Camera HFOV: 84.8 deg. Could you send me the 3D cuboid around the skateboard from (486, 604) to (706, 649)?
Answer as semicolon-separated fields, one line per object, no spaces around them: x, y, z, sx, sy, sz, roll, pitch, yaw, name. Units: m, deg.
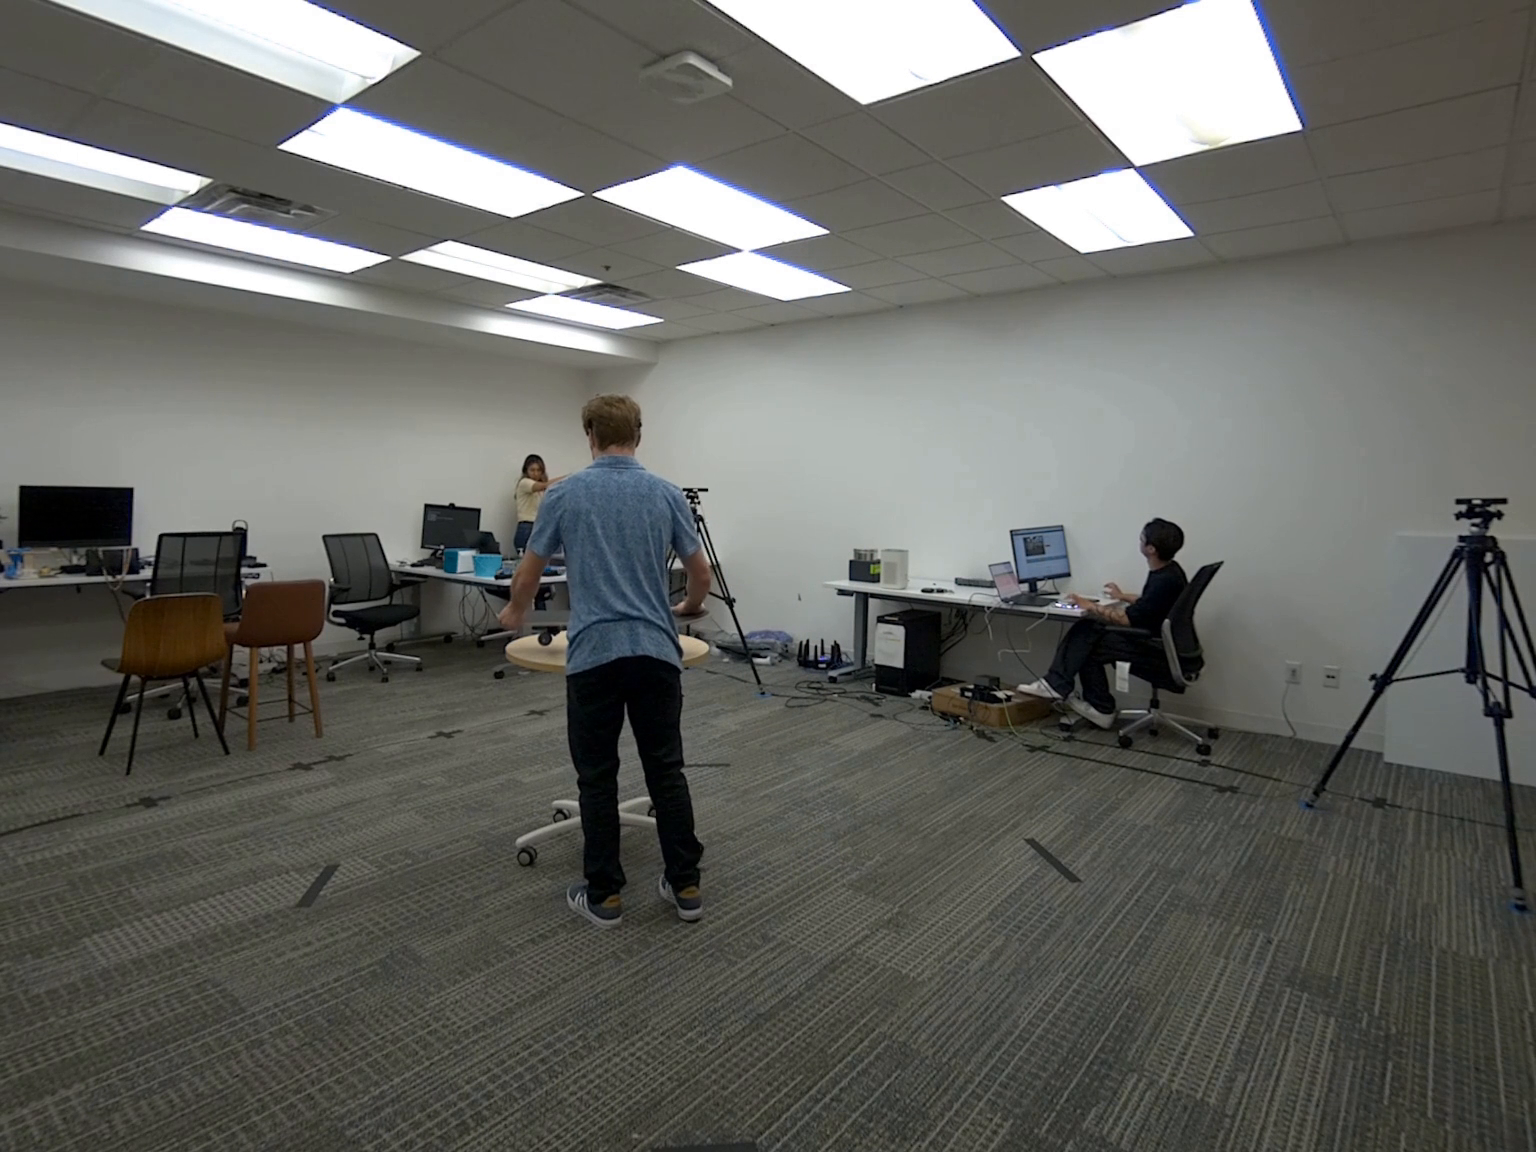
-0.627;0.184;3.119;0.785;0.109;0.195;1;11;0;skateboard
